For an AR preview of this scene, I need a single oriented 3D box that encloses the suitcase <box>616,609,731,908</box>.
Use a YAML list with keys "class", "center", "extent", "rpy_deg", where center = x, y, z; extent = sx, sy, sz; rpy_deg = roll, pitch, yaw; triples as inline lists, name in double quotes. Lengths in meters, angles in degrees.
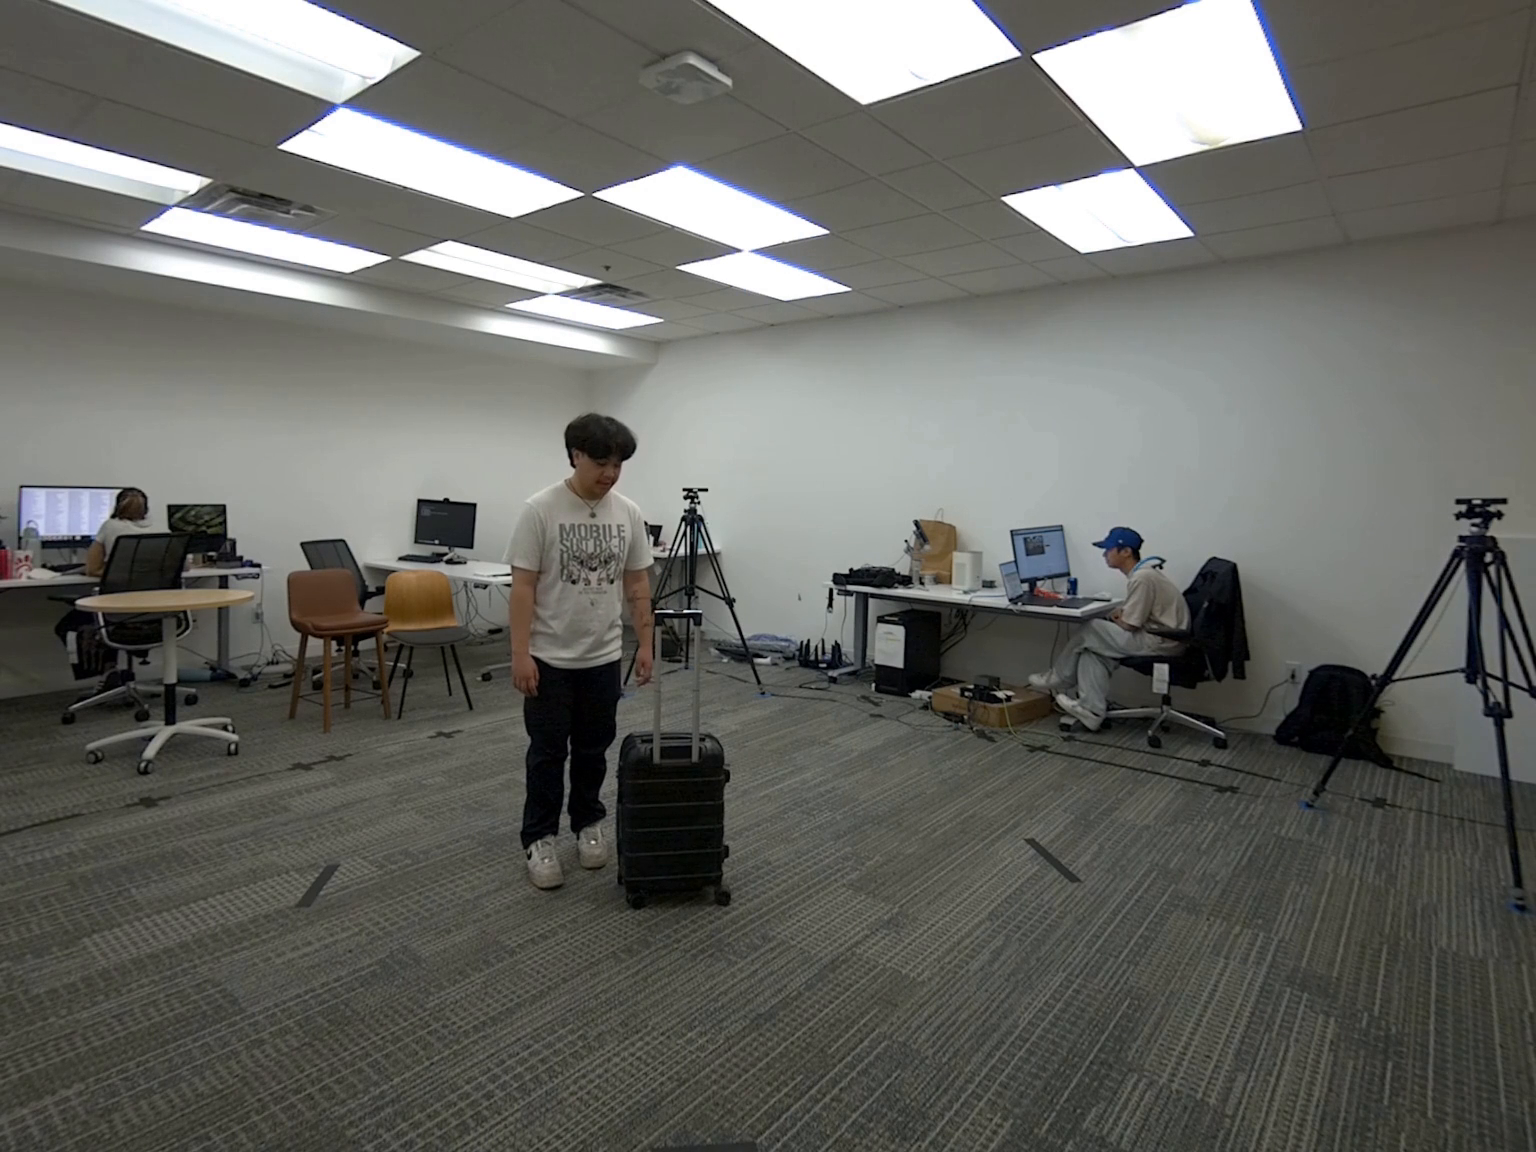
- class: "suitcase"
  center: [-0.340, 0.610, 2.919]
  extent: [0.380, 0.979, 0.260]
  rpy_deg: [1, 0, -10]
